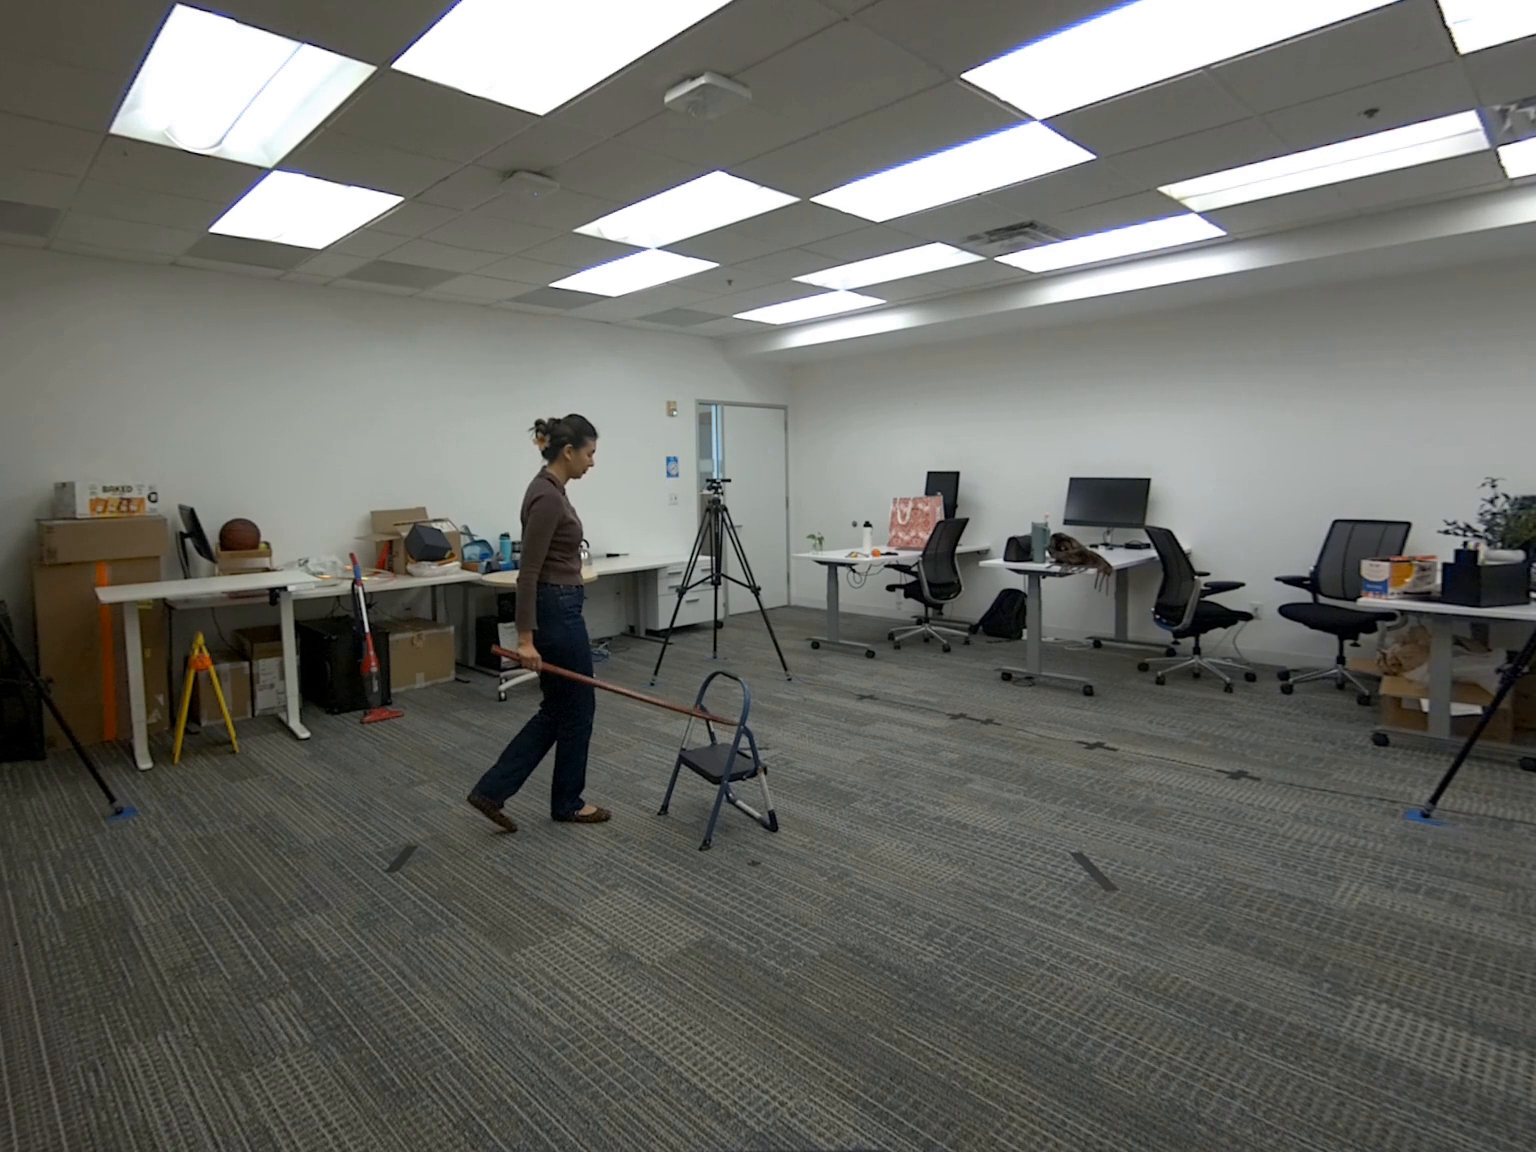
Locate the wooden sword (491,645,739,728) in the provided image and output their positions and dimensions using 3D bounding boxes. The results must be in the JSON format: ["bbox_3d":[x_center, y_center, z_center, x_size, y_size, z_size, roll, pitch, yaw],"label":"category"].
[{"bbox_3d":[-0.599,0.425,3.311,1.002,0.052,0.024,21,-39,-19],"label":"wooden sword"}]
